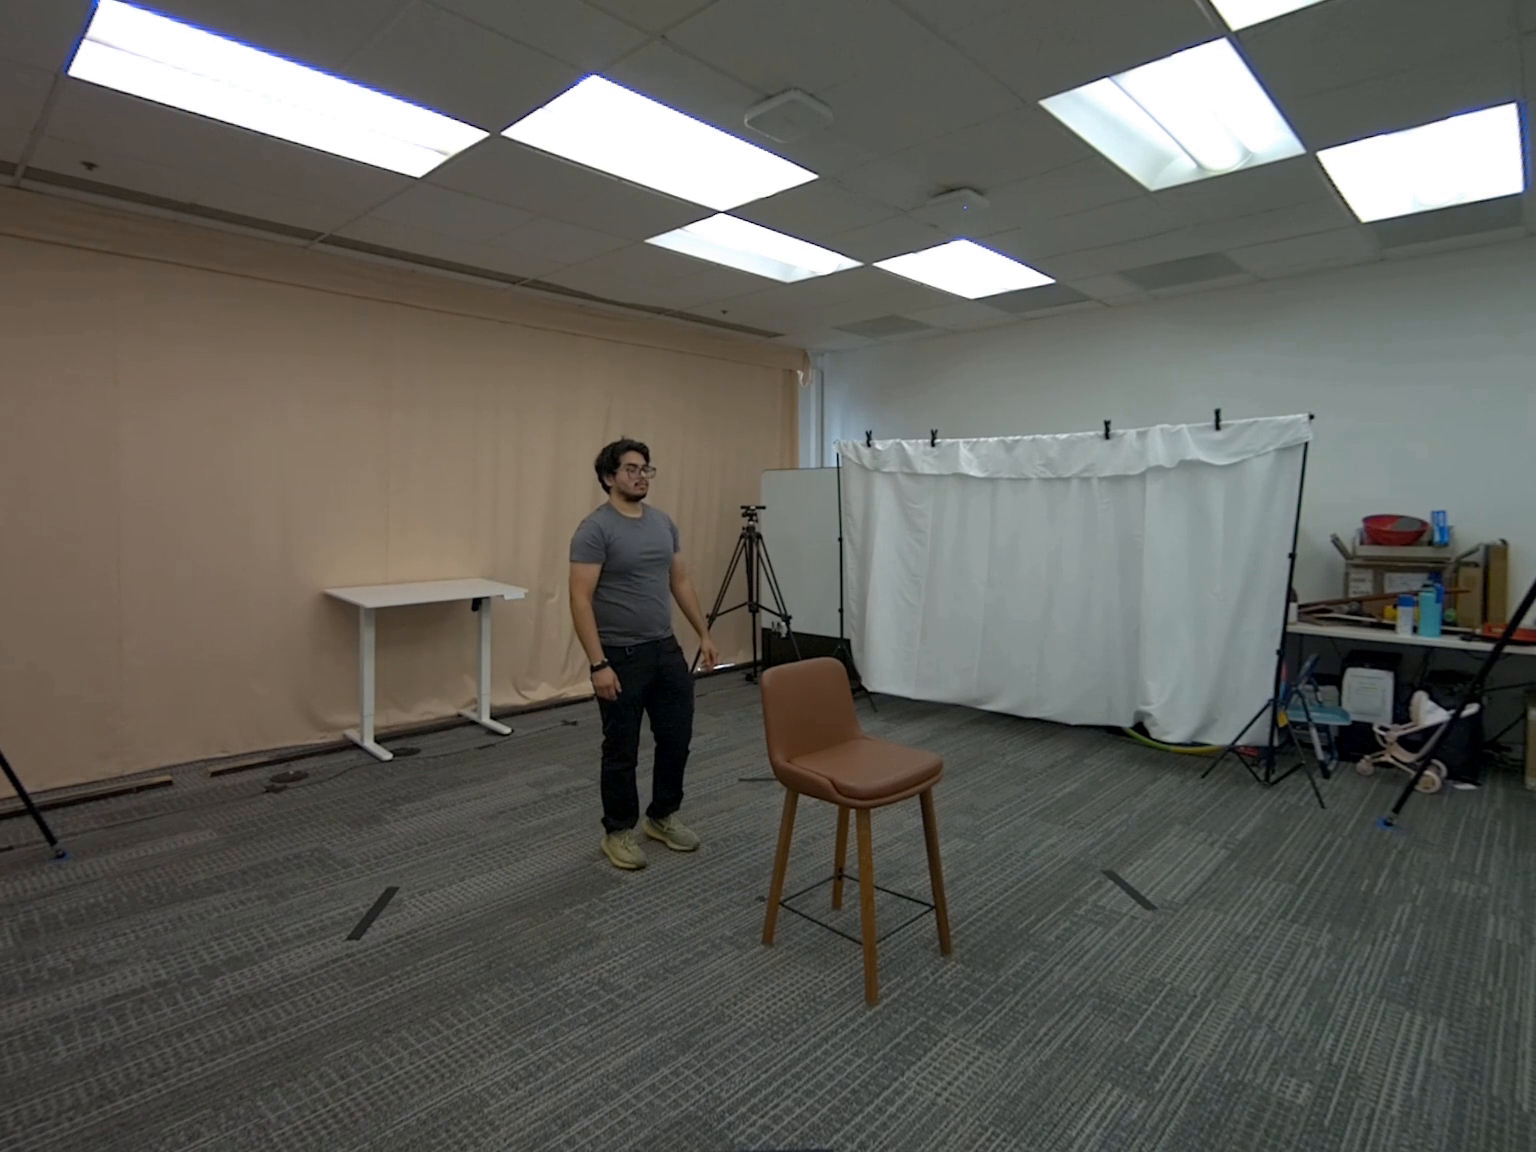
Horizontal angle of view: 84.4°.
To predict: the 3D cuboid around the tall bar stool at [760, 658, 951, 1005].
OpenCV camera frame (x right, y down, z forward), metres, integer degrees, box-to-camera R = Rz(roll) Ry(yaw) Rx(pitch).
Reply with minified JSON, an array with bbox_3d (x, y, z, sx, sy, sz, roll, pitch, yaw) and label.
[{"bbox_3d":[0.269,0.739,2.621,0.442,0.888,0.483,-4,3,-44],"label":"tall bar stool"}]
